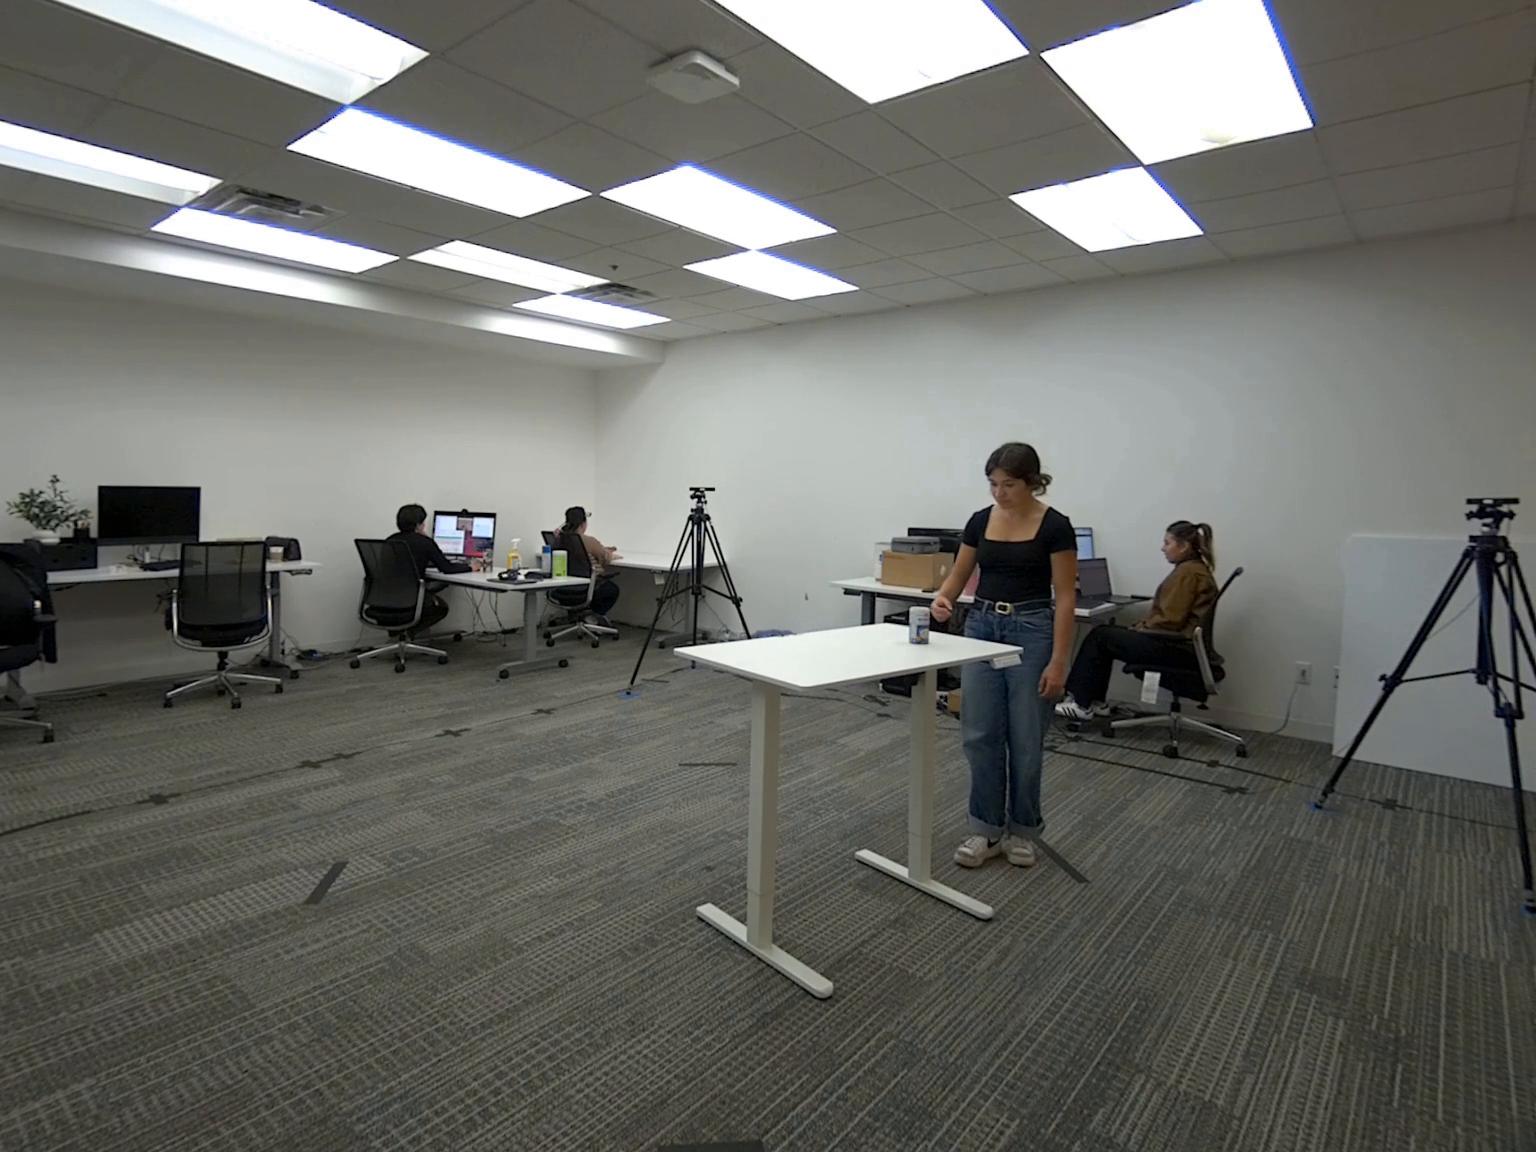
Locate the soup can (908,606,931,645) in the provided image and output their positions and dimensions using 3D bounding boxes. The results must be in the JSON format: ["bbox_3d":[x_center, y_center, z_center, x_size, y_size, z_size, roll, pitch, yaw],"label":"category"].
[{"bbox_3d":[0.501,0.165,2.860,0.067,0.121,0.067,-2,5,-2],"label":"soup can"}]
